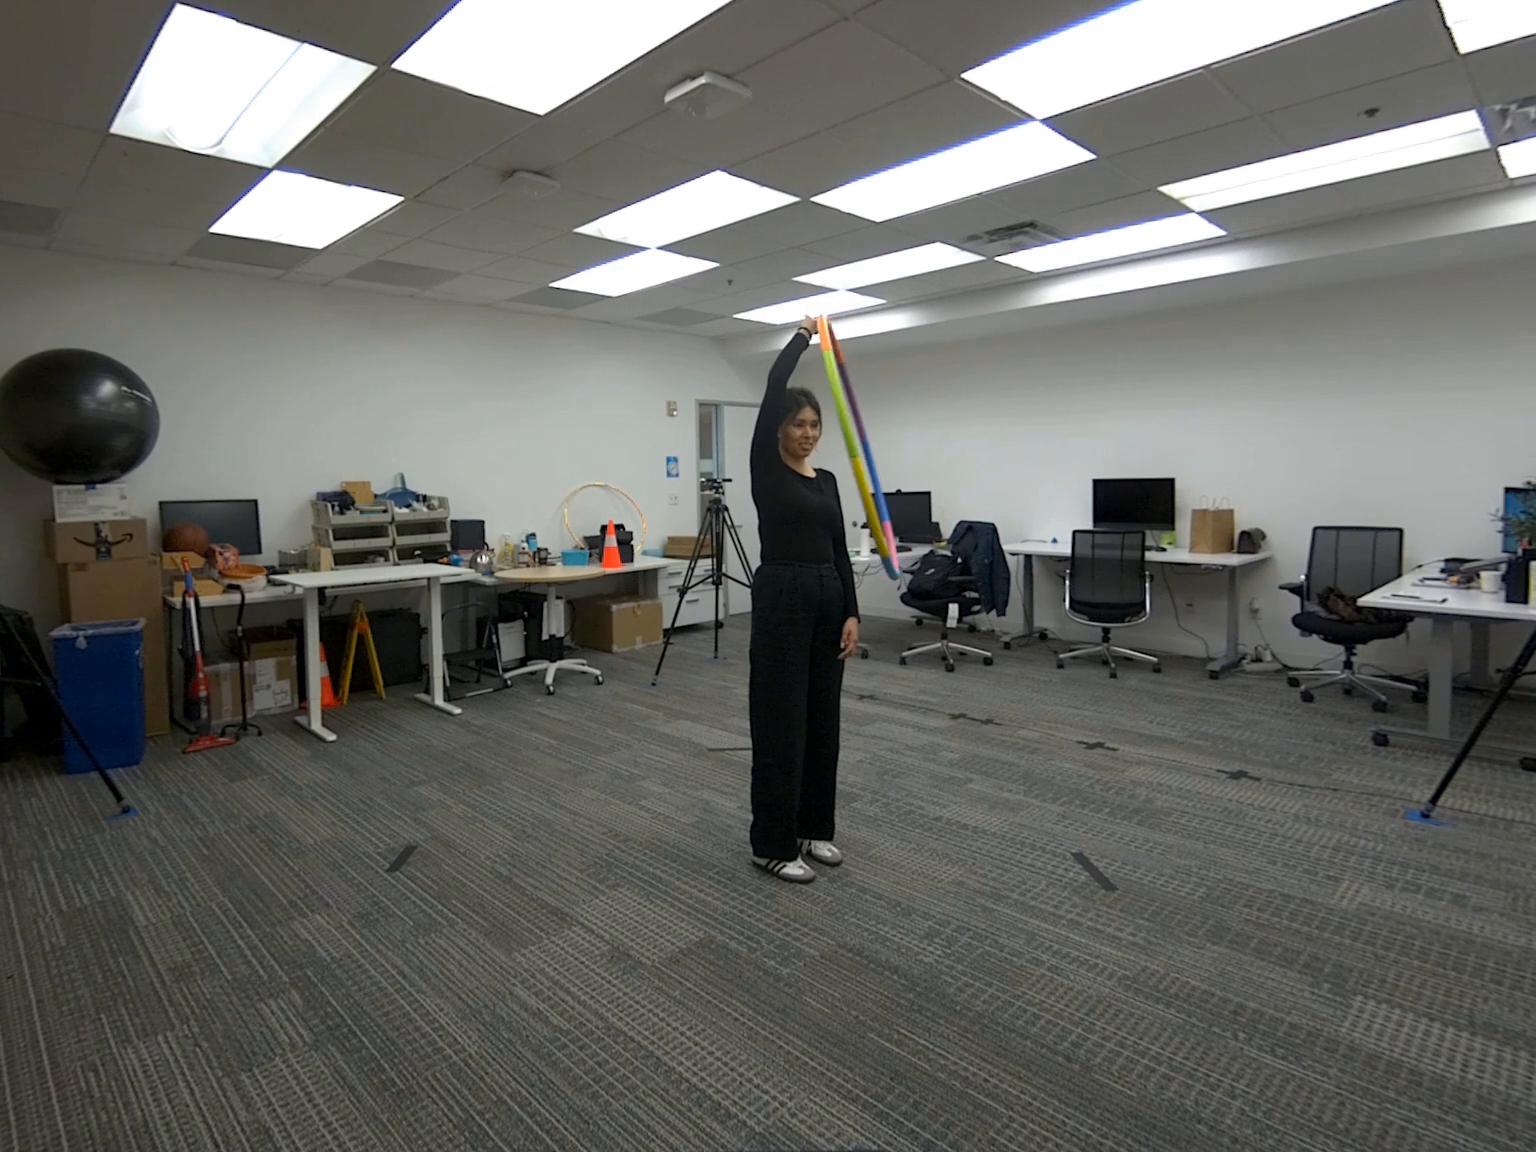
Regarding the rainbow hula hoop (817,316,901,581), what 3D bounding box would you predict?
[{"bbox_3d":[0.321,-0.470,3.102,0.052,0.985,0.978,-15,2,11],"label":"rainbow hula hoop"}]
